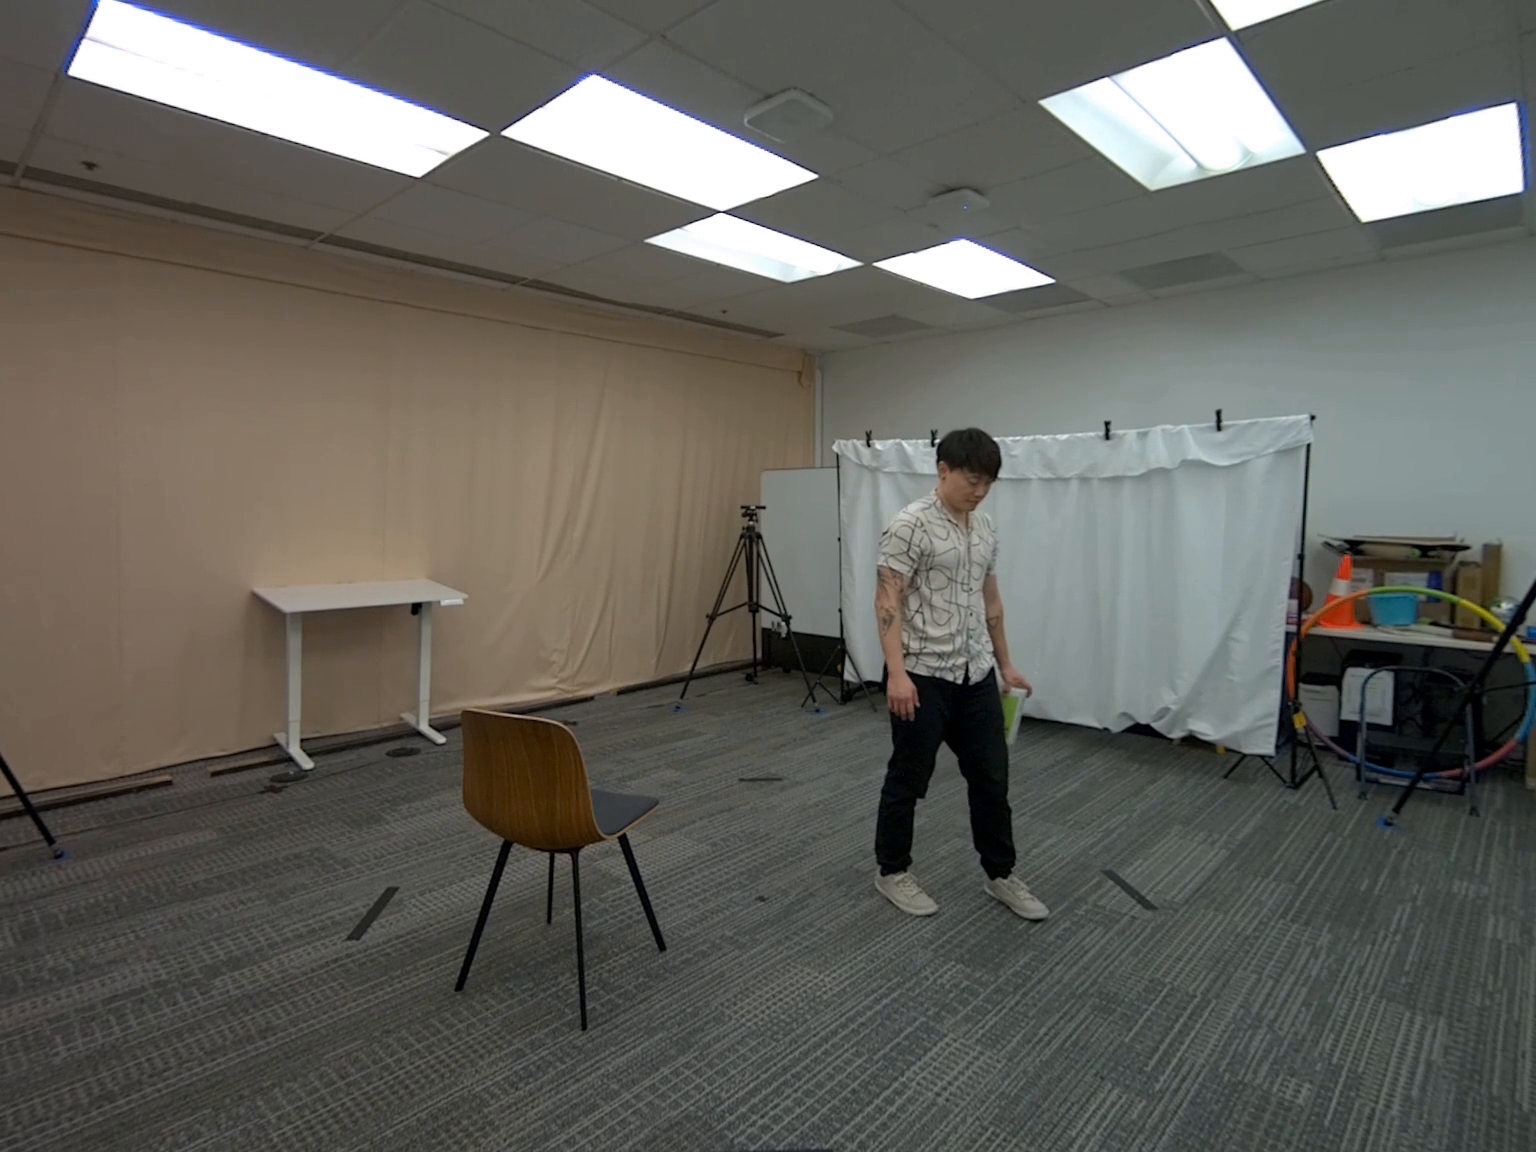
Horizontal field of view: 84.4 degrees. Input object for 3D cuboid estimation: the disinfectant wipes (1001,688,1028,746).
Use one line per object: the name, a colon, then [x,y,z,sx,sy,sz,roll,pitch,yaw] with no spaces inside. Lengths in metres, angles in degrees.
disinfectant wipes: [0.890,0.503,3.085,0.117,0.216,0.118,9,8,-3]
